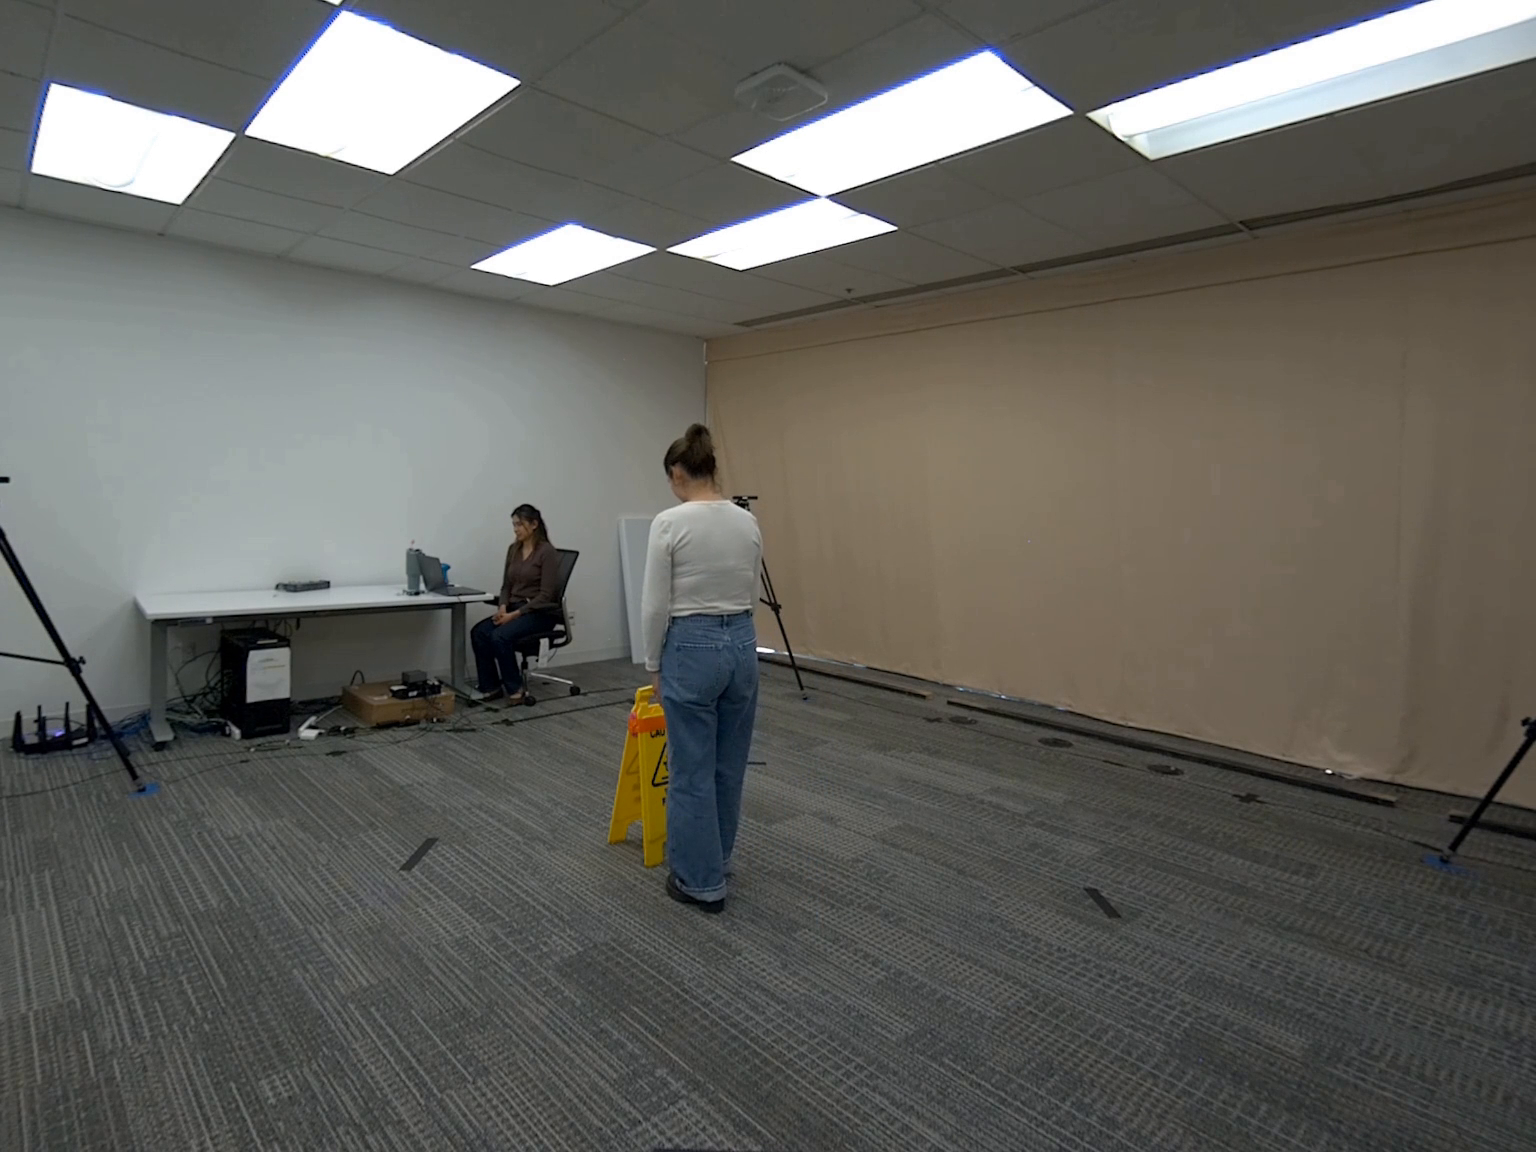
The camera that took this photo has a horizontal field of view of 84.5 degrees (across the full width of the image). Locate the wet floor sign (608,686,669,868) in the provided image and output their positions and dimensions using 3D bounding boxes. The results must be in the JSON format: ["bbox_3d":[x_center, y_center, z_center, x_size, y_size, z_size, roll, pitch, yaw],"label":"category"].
[{"bbox_3d":[-0.440,0.751,3.320,0.276,0.644,0.297,-1,5,-41],"label":"wet floor sign"}]
